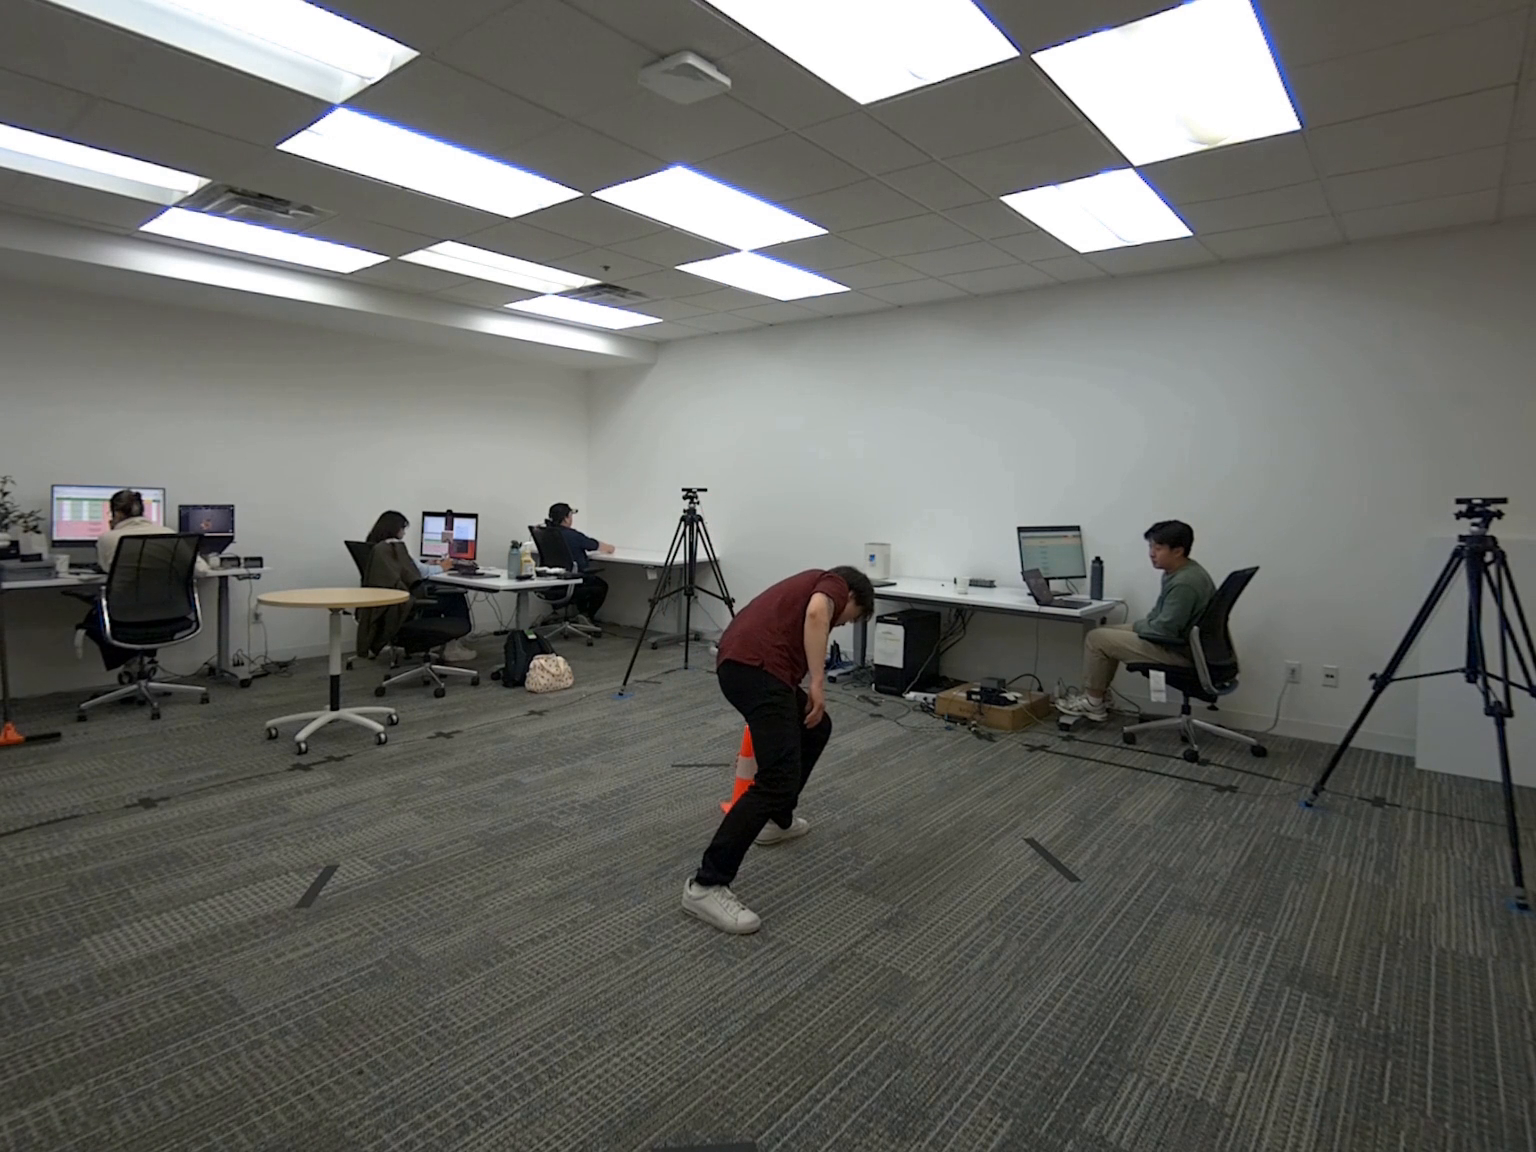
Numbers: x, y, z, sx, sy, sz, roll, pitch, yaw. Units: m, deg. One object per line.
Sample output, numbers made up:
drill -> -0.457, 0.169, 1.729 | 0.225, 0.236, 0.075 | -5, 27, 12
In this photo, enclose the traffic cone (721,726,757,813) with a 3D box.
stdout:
traffic cone -> -0.096, 0.820, 3.623 | 0.199, 0.380, 0.211 | -4, 10, -23
